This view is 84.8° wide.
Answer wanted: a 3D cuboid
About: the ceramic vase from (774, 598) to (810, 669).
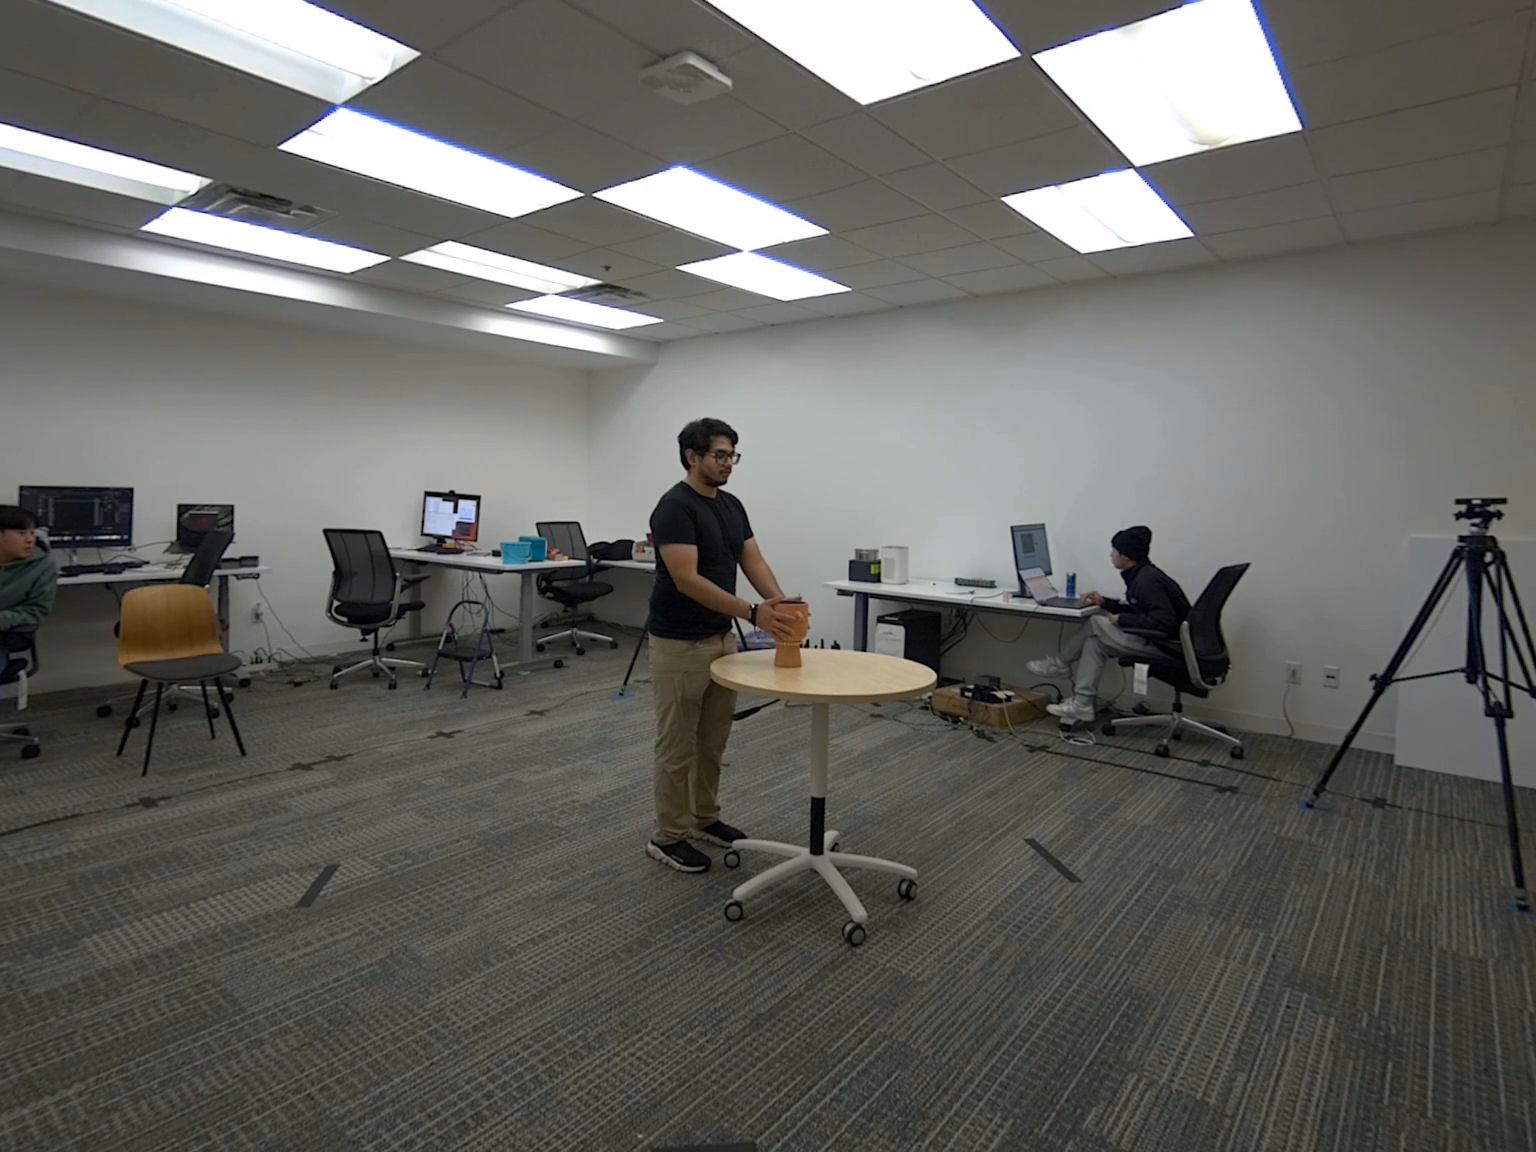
[{"bbox_3d":[0.062,0.202,2.958,0.137,0.219,0.156,1,3,15],"label":"ceramic vase"}]
